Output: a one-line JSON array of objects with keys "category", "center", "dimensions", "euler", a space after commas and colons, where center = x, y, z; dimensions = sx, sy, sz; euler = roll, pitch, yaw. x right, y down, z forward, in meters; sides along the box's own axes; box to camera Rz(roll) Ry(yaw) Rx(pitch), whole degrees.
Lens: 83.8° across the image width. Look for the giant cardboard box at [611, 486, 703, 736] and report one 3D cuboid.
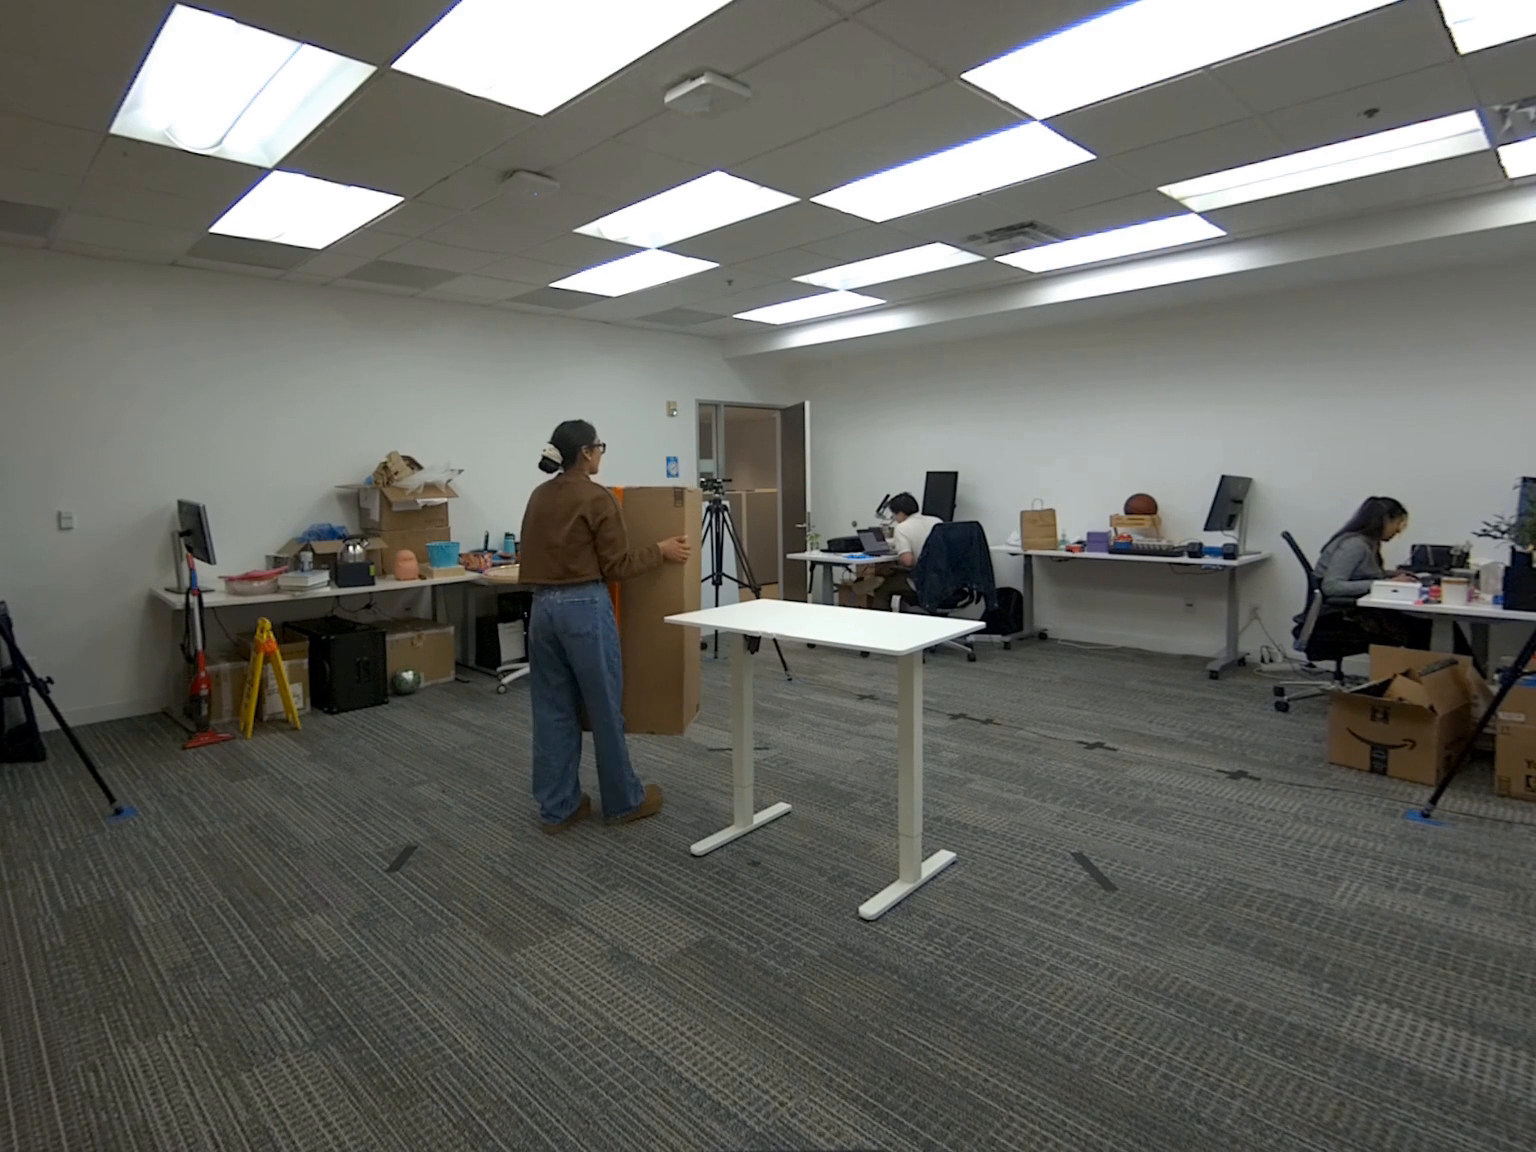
[{"category": "giant cardboard box", "center": [-0.601, 0.121, 3.744], "dimensions": [0.583, 1.023, 0.423], "euler": [1, 3, 9]}]
